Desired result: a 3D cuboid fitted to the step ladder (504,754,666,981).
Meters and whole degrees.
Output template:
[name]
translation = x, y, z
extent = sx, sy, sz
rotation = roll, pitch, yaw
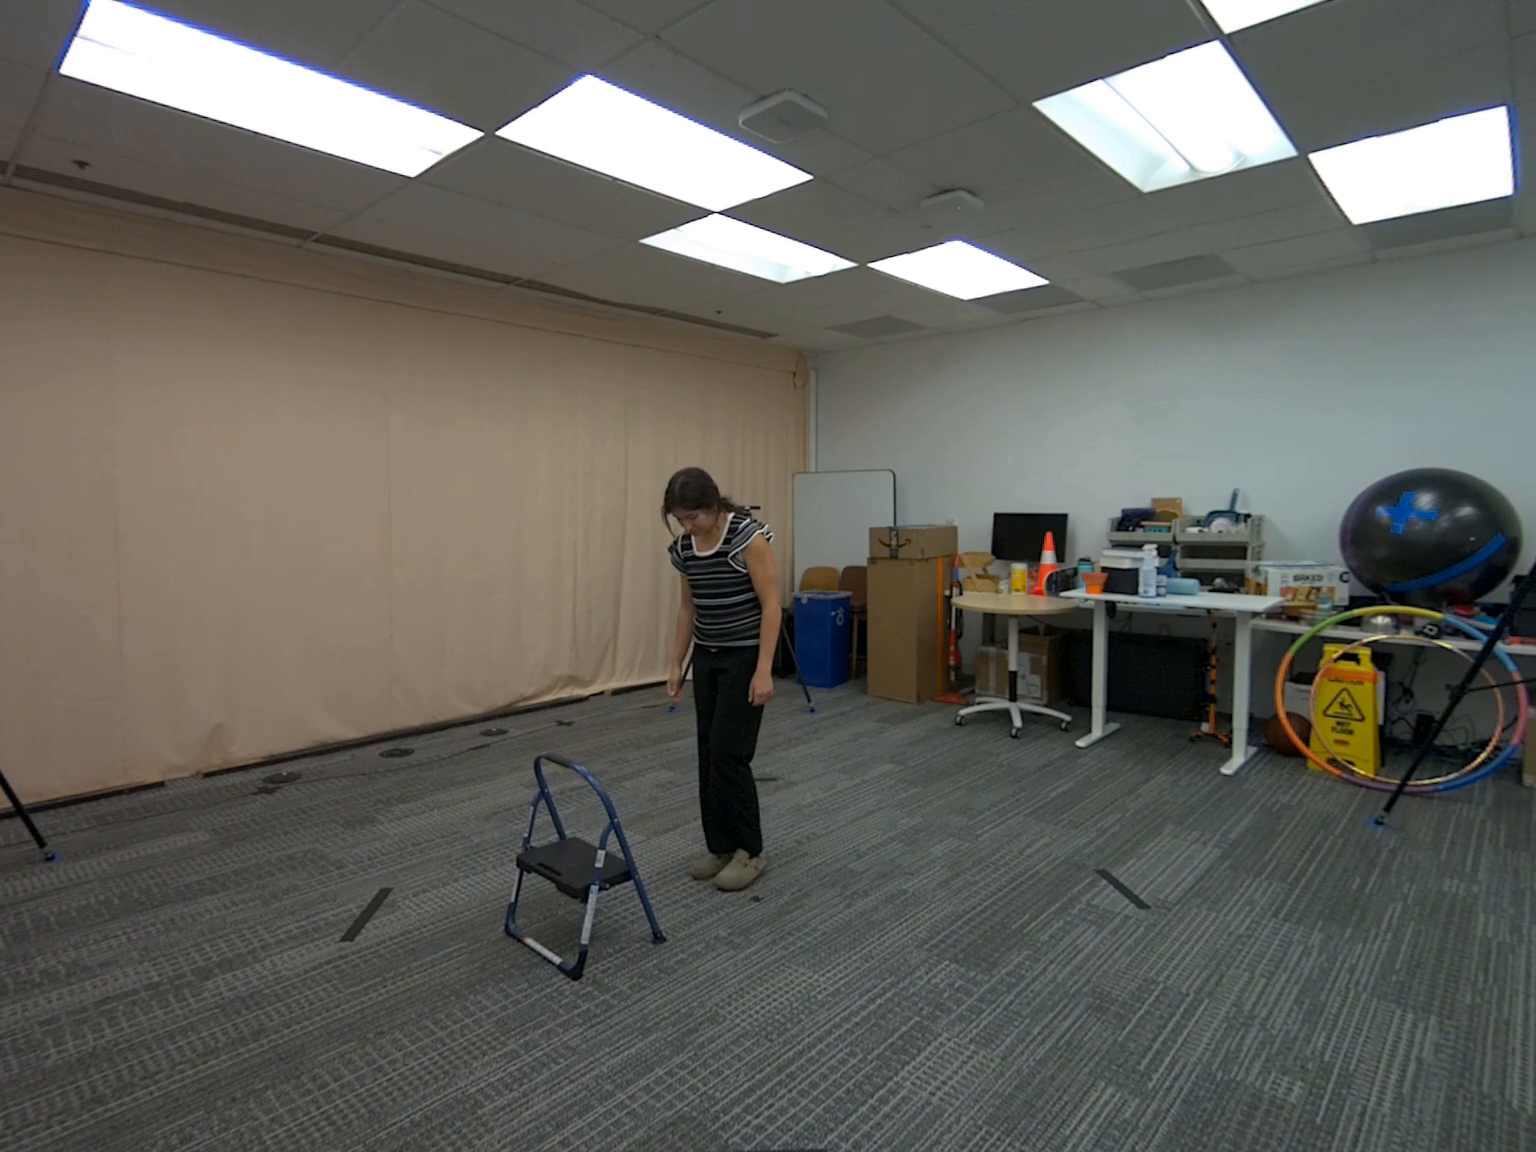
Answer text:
[step ladder]
translation = -0.601, 0.871, 2.716
extent = 0.445, 0.605, 0.338
rotation = 2, 4, 43
